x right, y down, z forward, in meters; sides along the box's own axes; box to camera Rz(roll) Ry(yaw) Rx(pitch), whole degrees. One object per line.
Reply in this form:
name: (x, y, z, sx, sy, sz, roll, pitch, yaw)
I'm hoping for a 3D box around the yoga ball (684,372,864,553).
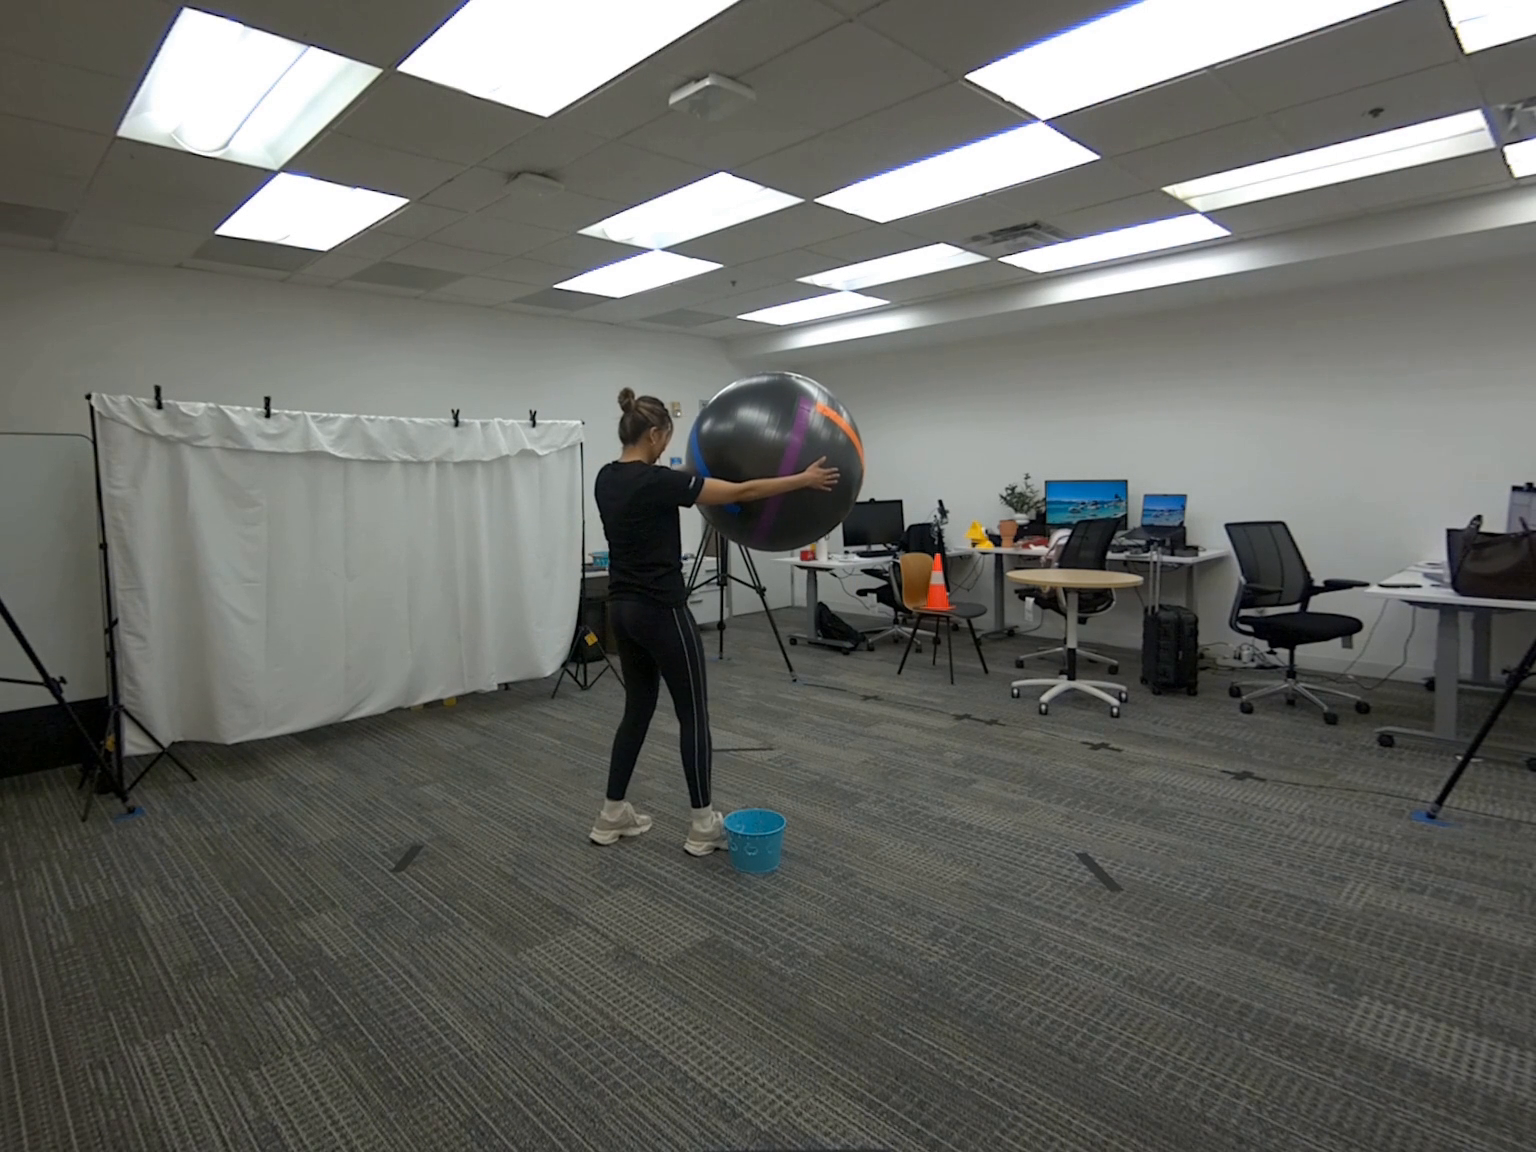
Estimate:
yoga ball: (0.024, -0.474, 3.627, 0.757, 0.755, 0.762, -1, 5, -2)
